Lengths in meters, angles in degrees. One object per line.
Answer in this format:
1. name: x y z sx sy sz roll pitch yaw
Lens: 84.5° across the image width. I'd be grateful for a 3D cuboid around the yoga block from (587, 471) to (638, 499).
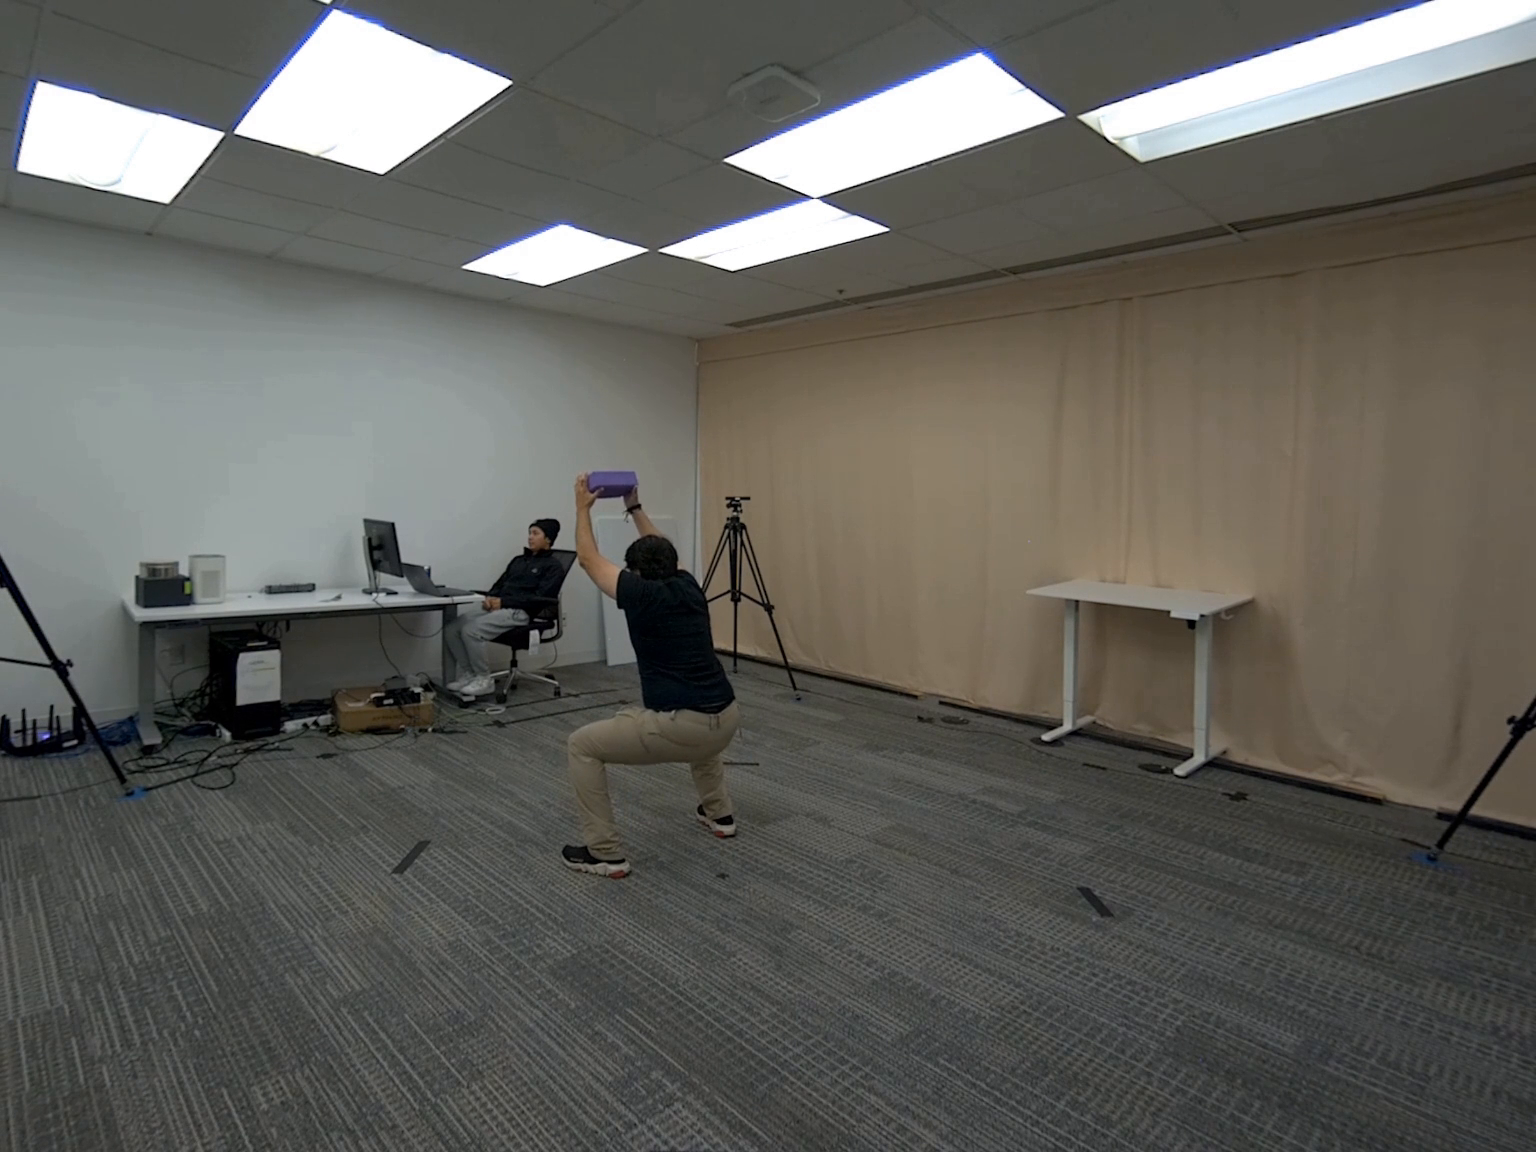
1. yoga block: -0.701 -0.400 3.605 0.224 0.077 0.150 -9 -13 -47
